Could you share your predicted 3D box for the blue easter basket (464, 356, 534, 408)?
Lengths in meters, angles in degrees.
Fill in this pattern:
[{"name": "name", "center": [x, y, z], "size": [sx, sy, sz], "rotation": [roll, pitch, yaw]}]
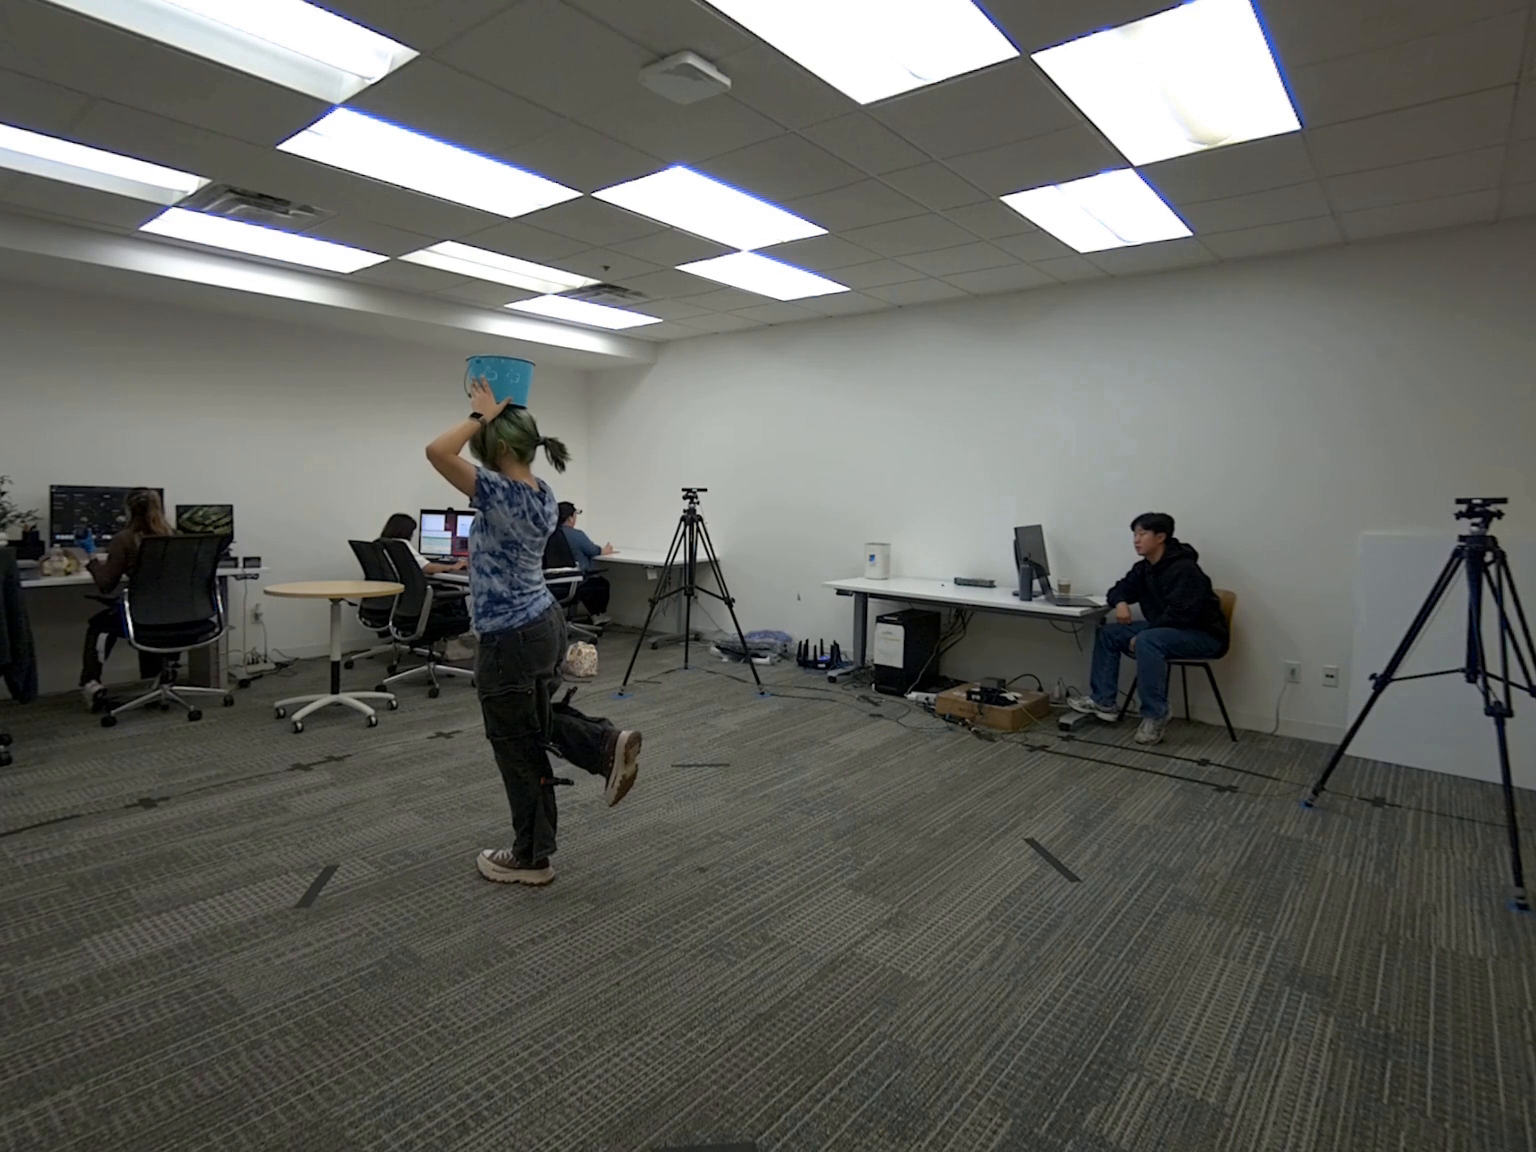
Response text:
[{"name": "blue easter basket", "center": [-0.937, -0.658, 2.911], "size": [0.243, 0.155, 0.244], "rotation": [-2, 3, -2]}]
